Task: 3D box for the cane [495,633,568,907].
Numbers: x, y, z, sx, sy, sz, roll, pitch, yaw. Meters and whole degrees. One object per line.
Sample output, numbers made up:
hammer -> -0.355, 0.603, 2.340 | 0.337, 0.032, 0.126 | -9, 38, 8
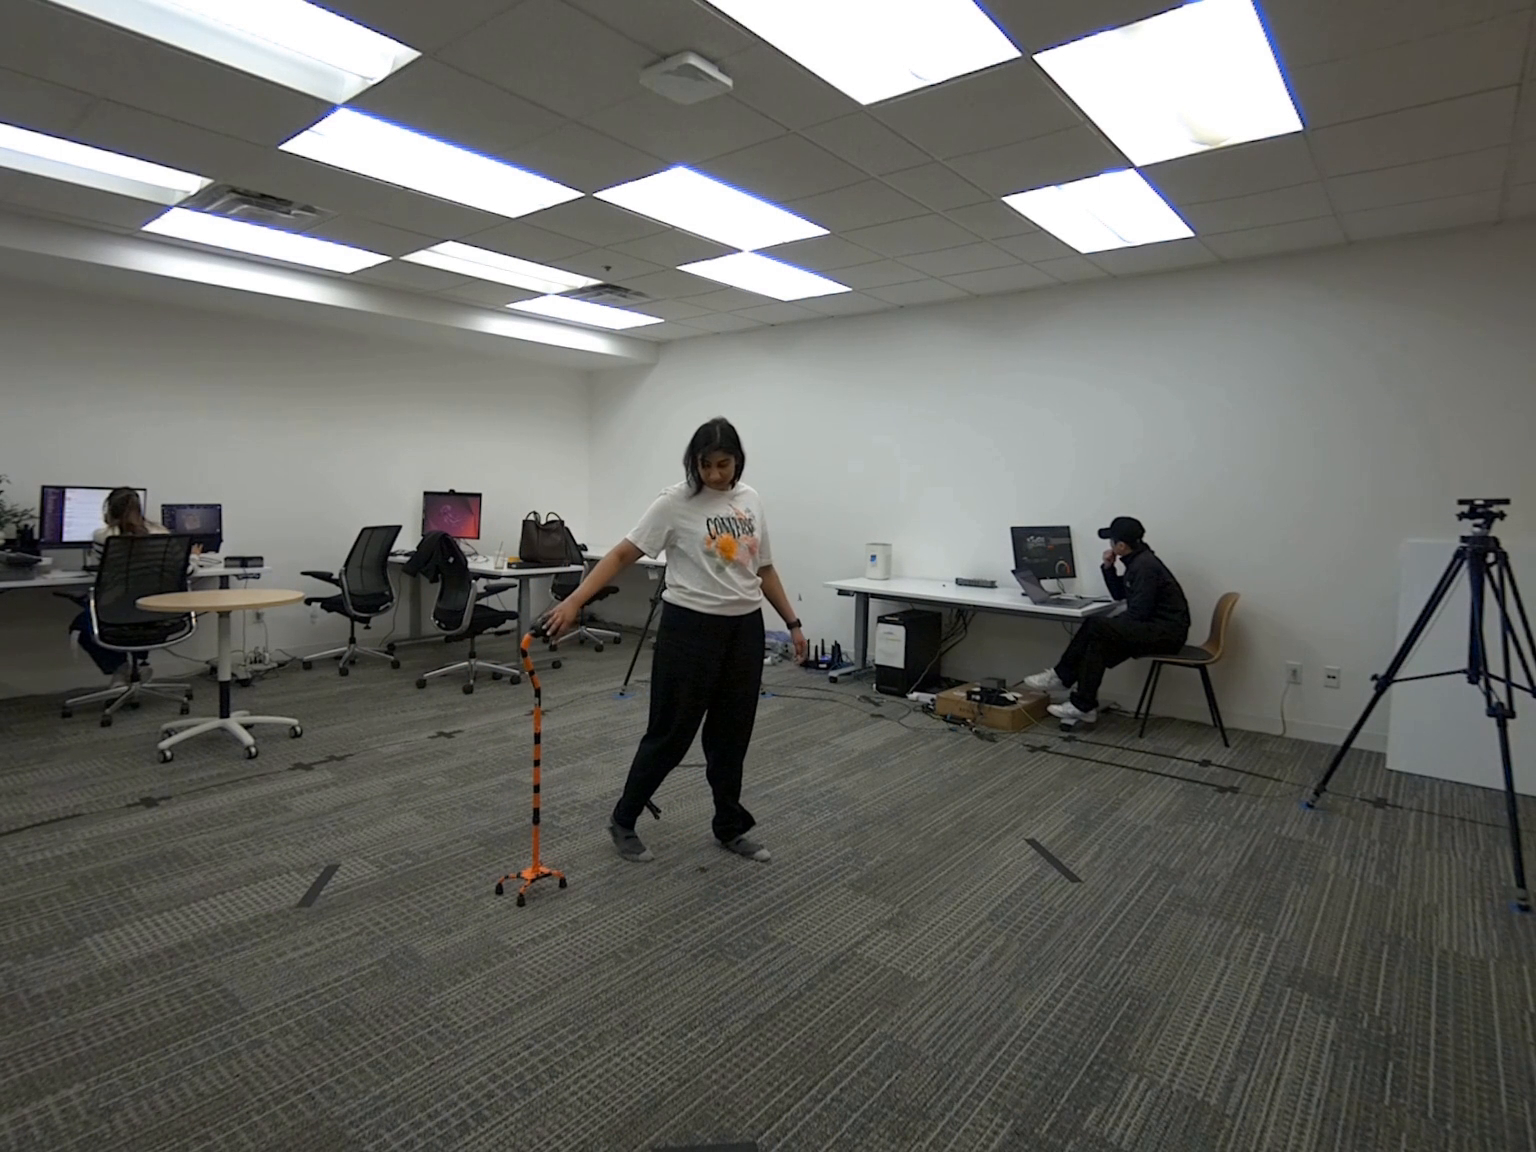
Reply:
cane -> -0.813, 0.625, 2.899 | 0.157, 0.905, 0.200 | 4, 4, 39
